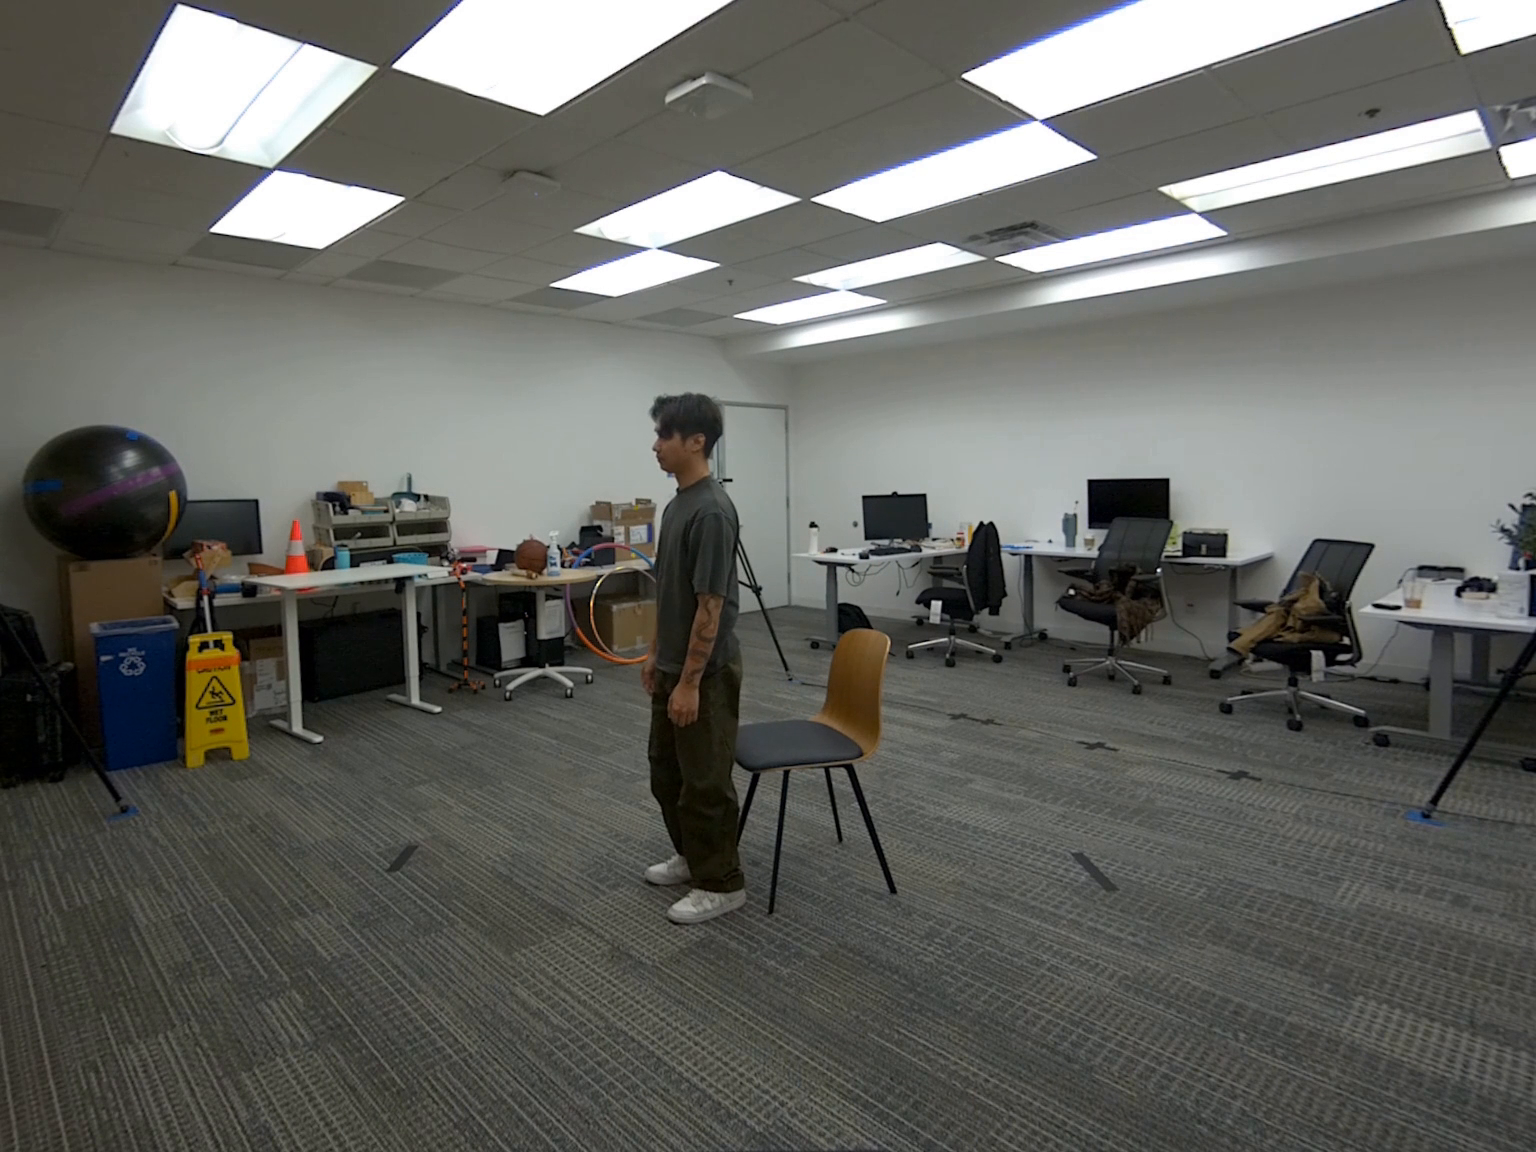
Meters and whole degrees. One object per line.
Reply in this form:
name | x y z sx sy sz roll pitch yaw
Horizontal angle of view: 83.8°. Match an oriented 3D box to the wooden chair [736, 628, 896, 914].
wooden chair | 0.136 0.629 2.981 0.514 0.875 0.487 2 4 -18
